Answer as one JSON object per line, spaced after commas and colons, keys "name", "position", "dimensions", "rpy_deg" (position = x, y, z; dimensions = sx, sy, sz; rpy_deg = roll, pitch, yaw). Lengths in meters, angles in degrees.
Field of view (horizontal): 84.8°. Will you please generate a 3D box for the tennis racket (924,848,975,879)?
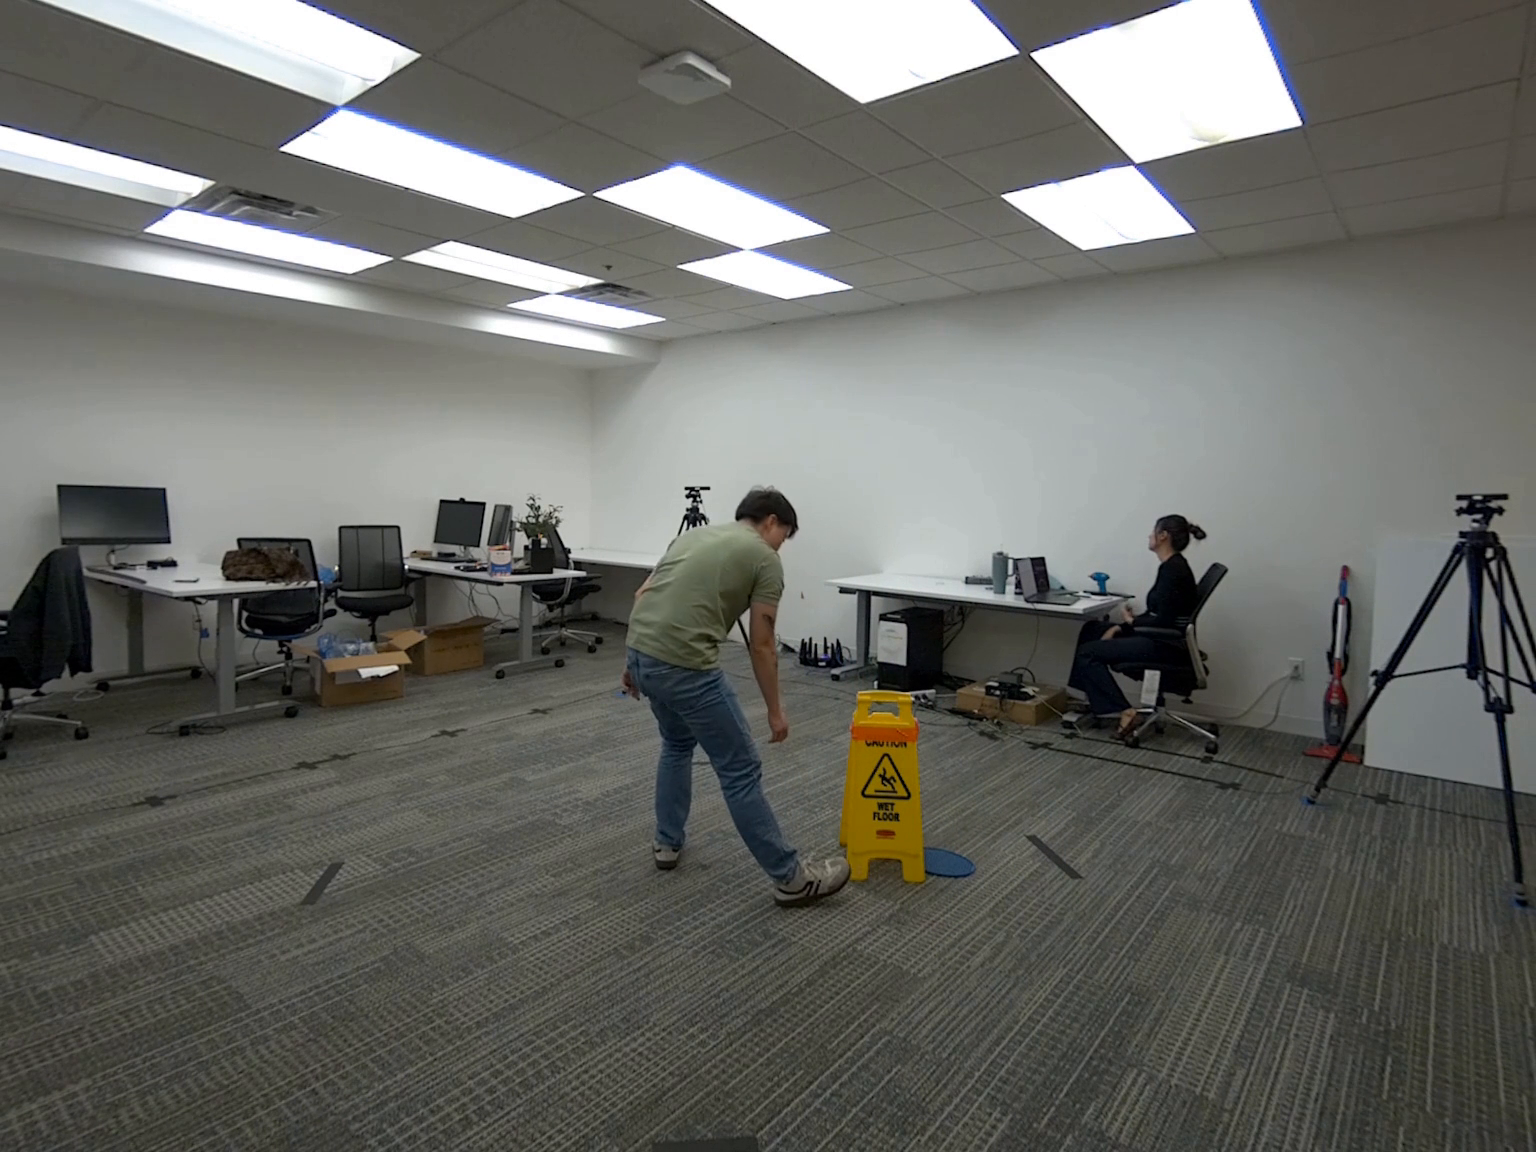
{"name": "tennis racket", "position": [0.700, 1.071, 3.145], "dimensions": [0.446, 0.031, 0.209], "rpy_deg": [6, 8, 29]}
